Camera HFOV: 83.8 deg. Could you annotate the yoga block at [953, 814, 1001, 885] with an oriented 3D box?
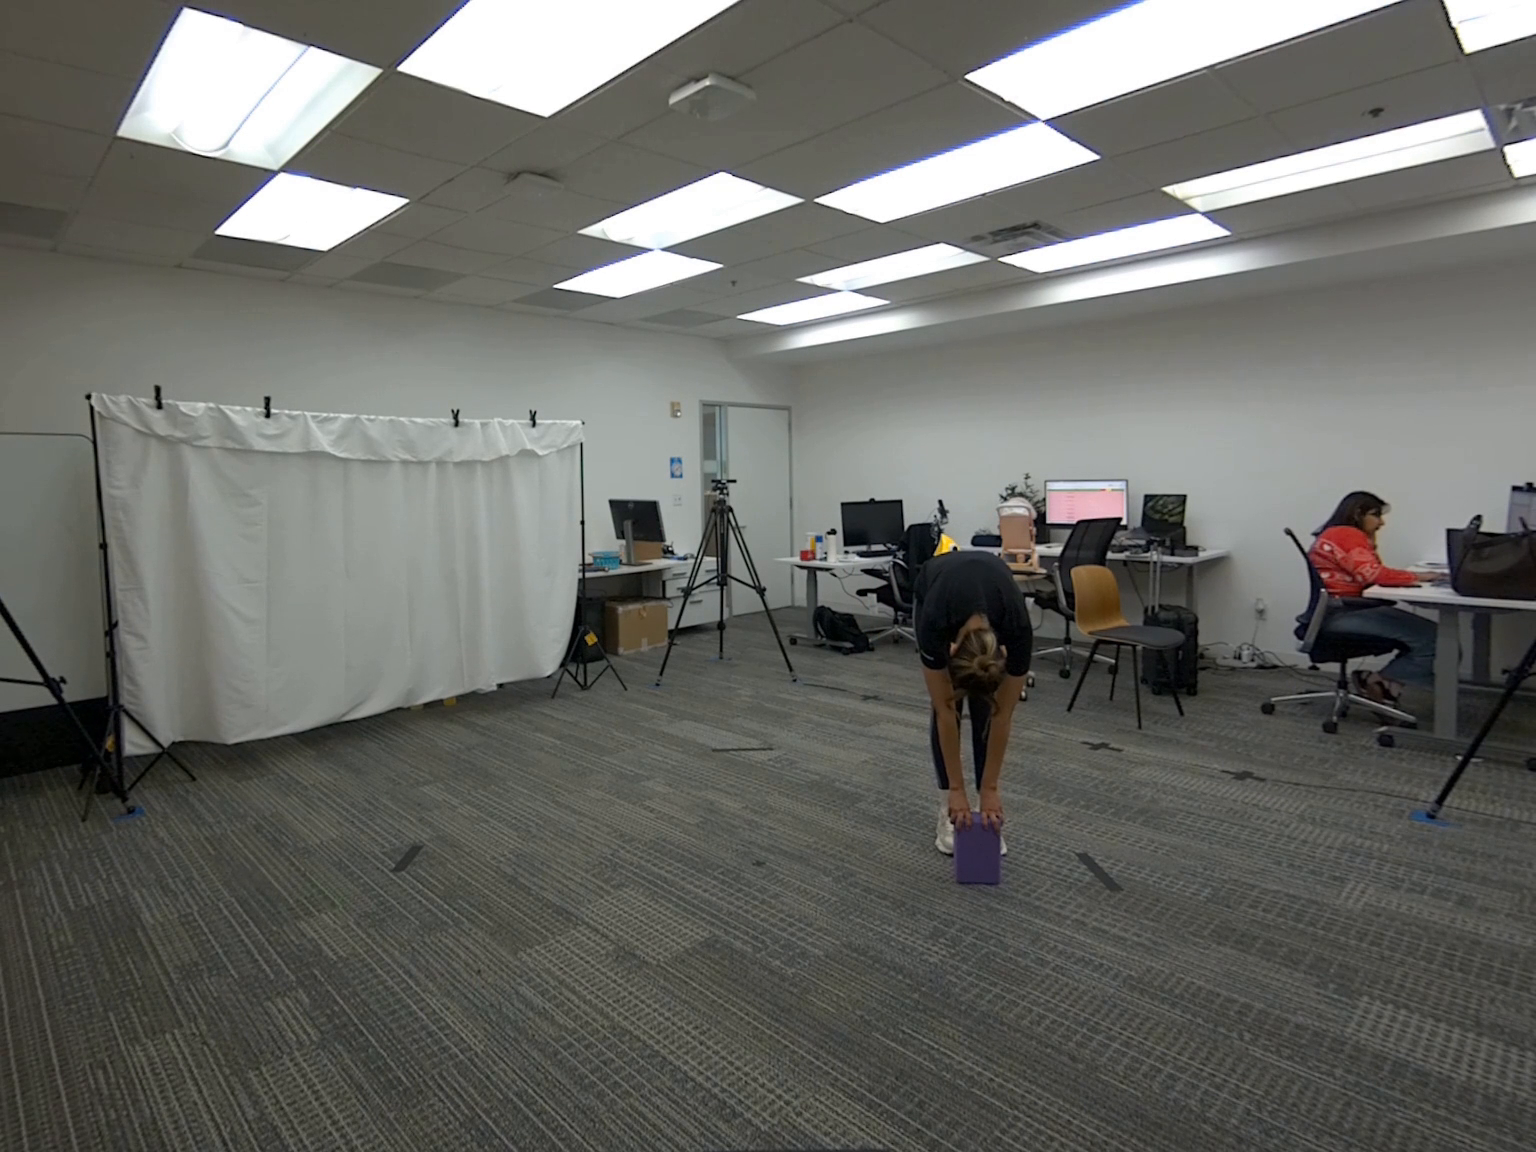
[{"bbox_3d":[0.723,0.945,2.942,0.150,0.229,0.076,-3,2,5],"label":"yoga block"}]
